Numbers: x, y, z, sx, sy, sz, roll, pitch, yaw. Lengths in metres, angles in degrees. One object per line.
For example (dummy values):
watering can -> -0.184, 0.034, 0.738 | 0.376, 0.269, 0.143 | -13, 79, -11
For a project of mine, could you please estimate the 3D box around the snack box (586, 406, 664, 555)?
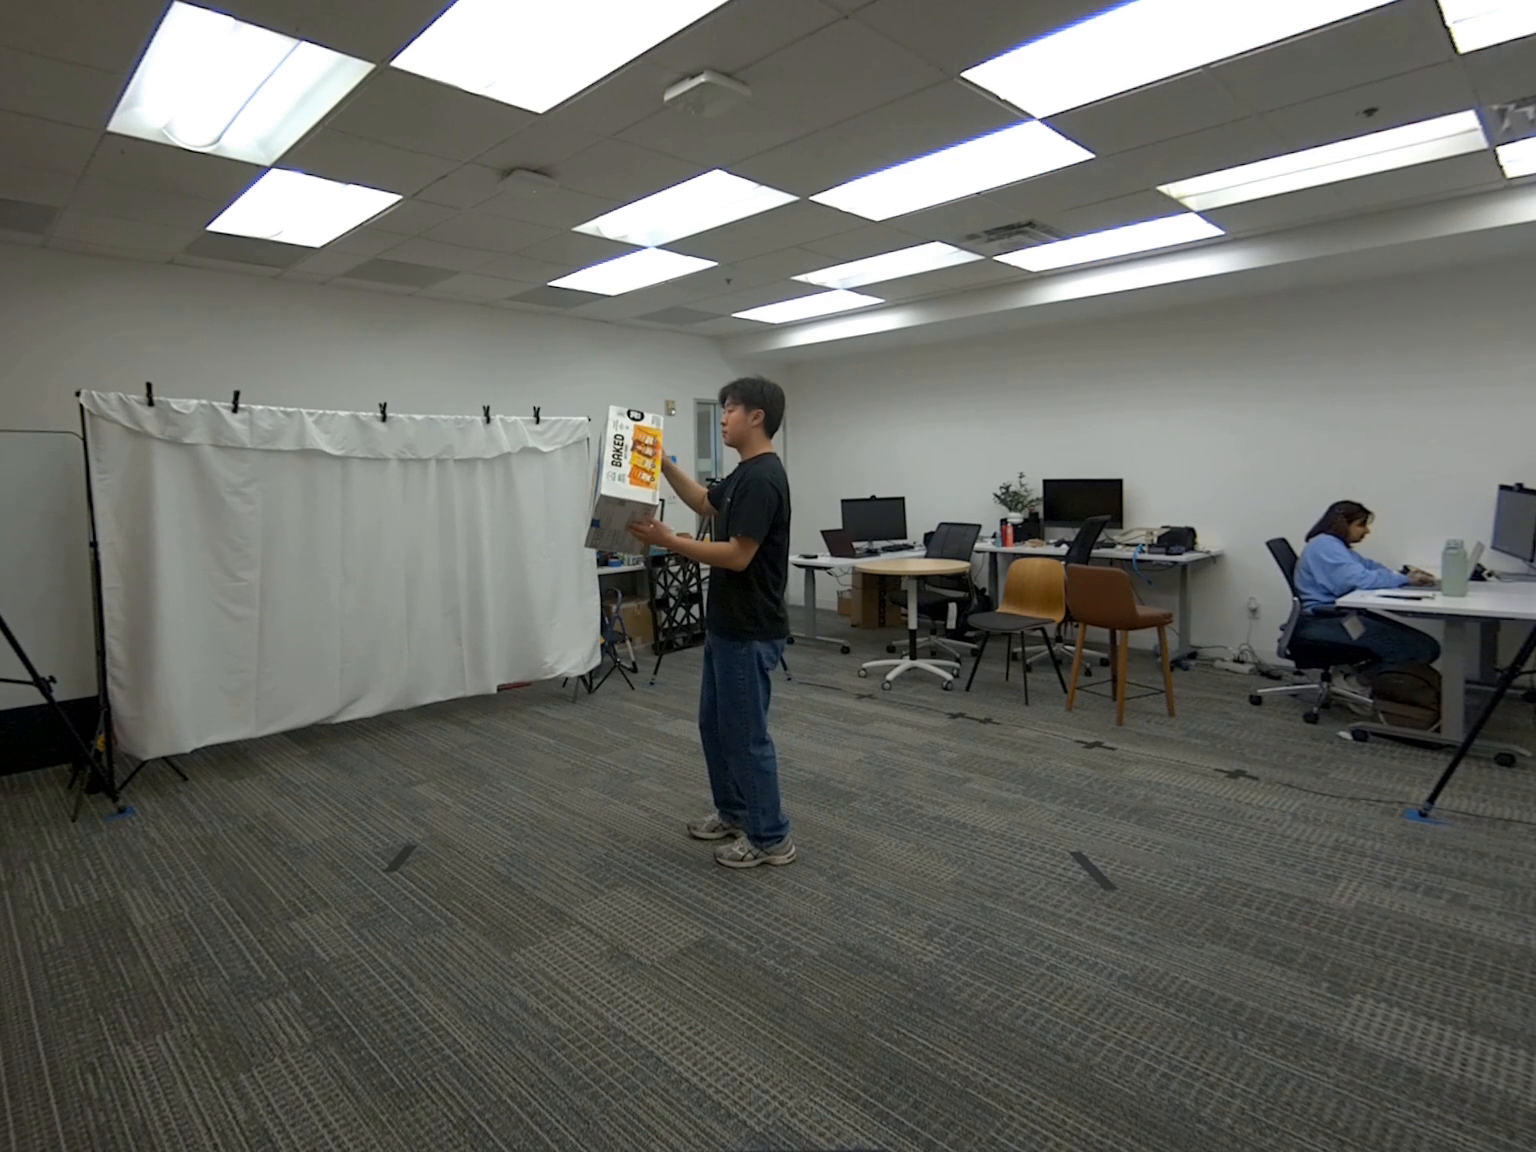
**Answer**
snack box -> -0.517, -0.346, 3.108 | 0.202, 0.415, 0.337 | 9, -34, -16
